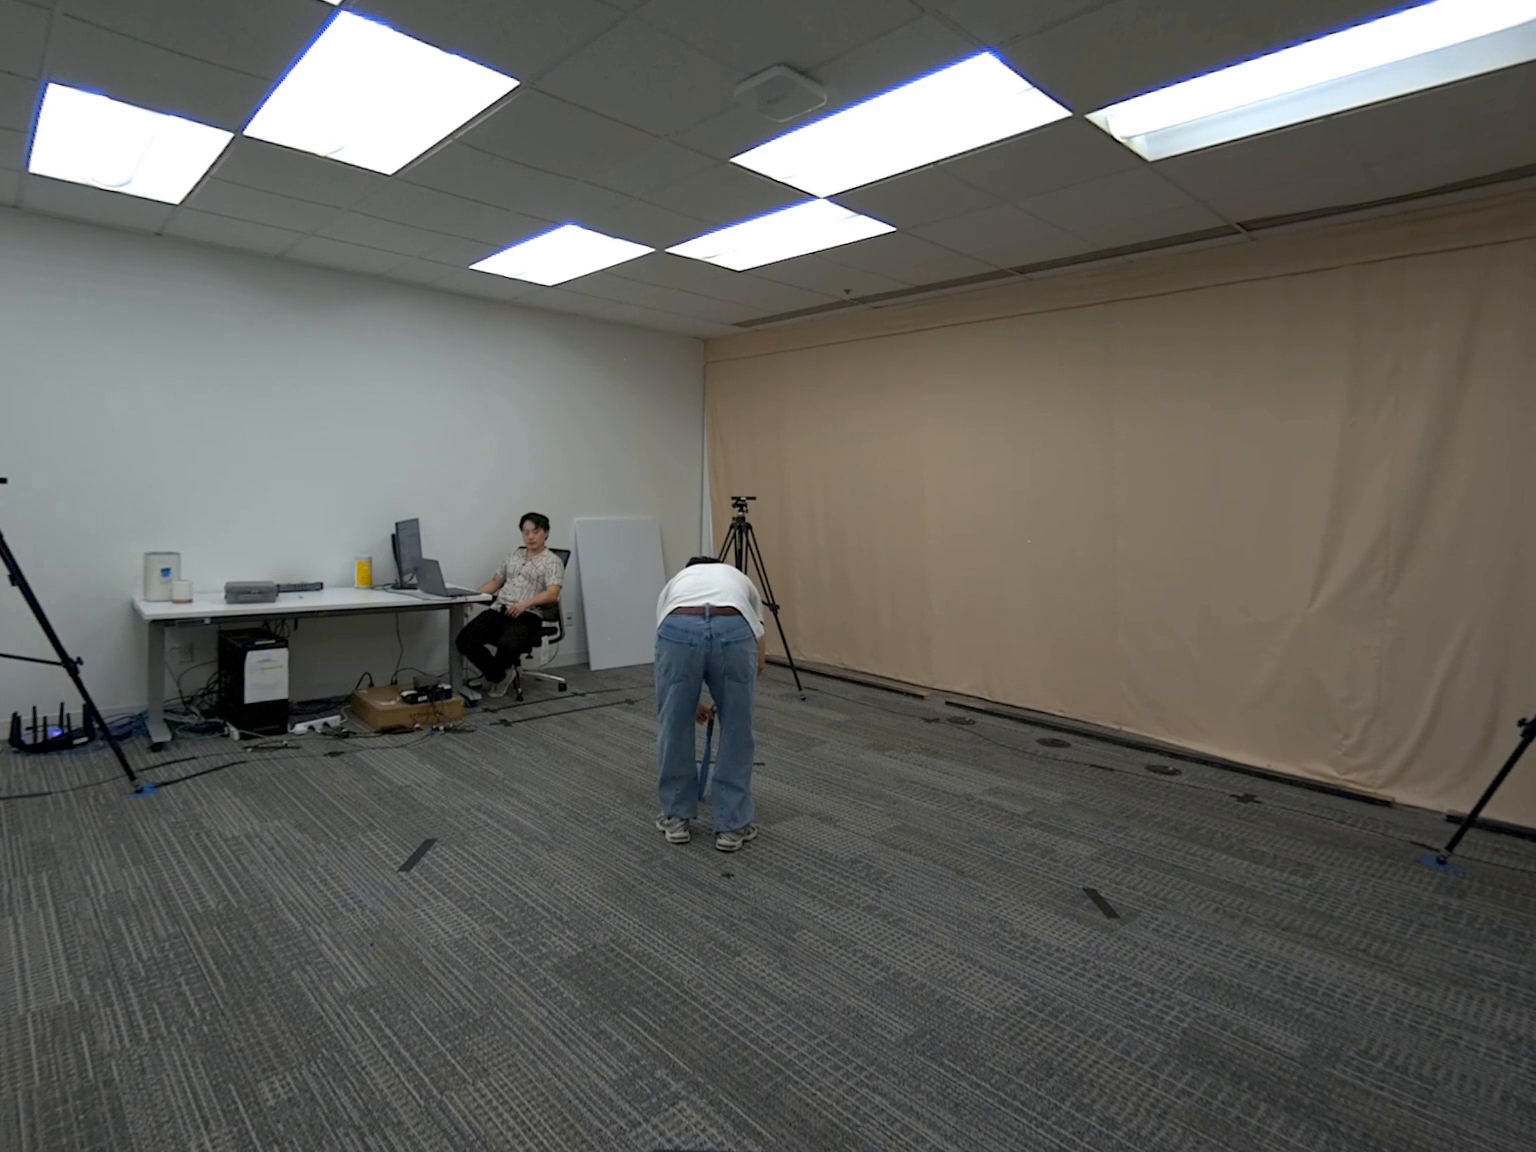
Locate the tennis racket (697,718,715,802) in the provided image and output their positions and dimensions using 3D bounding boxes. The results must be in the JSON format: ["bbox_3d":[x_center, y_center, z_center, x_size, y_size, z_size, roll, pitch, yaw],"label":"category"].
[{"bbox_3d":[-0.287,0.830,3.849,0.209,0.432,0.032,3,3,-38],"label":"tennis racket"}]
